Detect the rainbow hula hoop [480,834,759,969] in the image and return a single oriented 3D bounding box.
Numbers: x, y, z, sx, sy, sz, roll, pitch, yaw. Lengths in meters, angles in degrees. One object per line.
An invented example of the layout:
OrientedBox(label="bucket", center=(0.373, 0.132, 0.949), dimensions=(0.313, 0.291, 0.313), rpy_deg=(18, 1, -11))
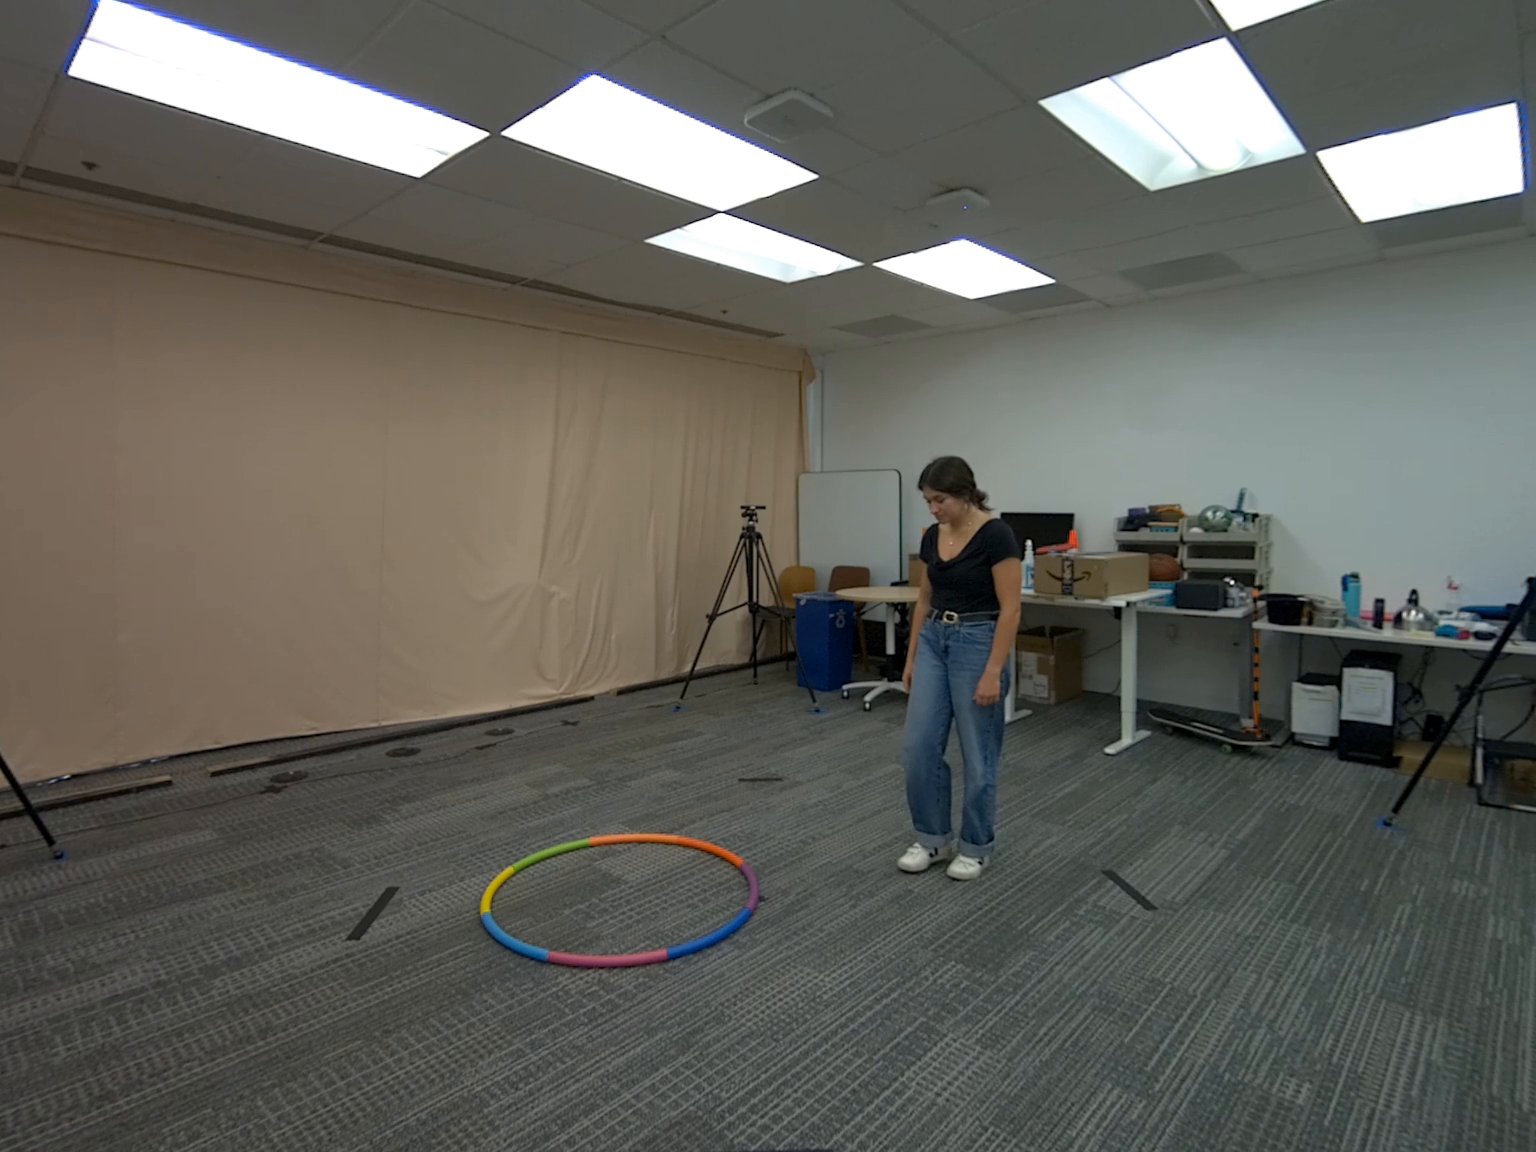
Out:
OrientedBox(label="rainbow hula hoop", center=(-0.511, 1.116, 3.020), dimensions=(0.978, 0.035, 0.982), rpy_deg=(-1, 5, -2))
